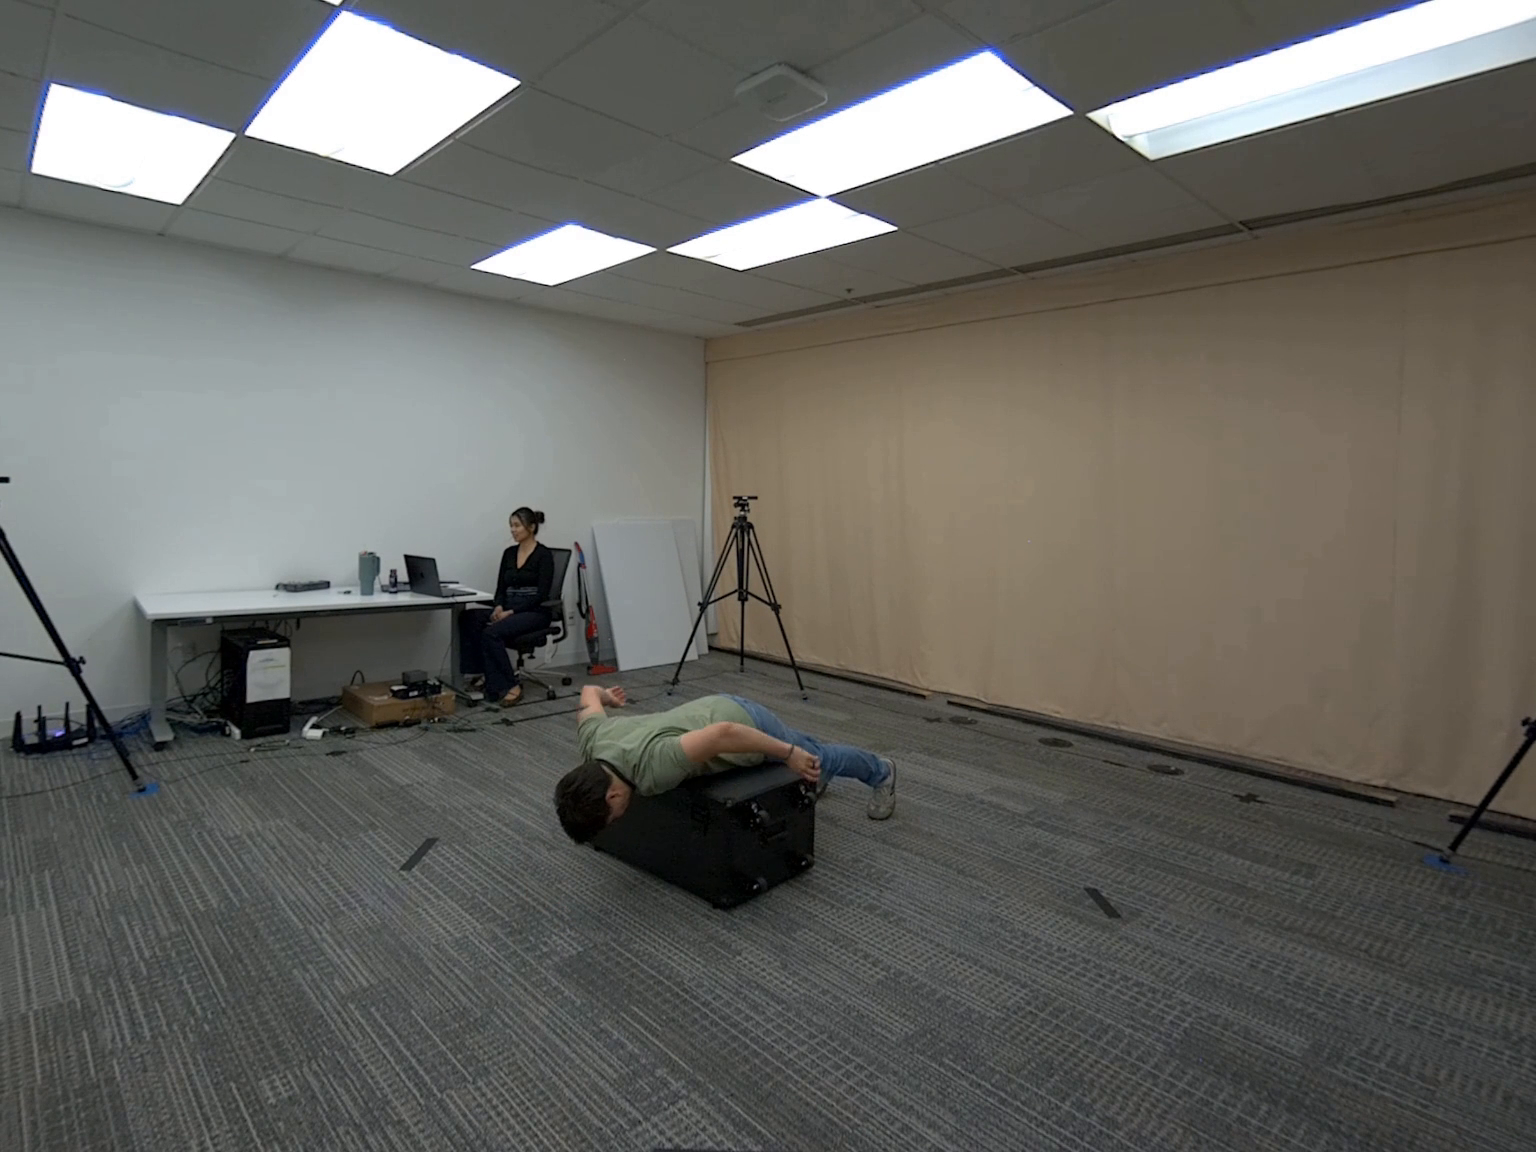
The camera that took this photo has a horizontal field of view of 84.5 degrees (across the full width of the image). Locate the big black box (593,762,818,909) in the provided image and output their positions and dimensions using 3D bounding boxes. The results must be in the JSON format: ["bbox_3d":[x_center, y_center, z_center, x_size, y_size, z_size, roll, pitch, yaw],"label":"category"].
[{"bbox_3d":[-0.256,0.908,3.201,0.883,0.395,0.510,3,5,41],"label":"big black box"}]
